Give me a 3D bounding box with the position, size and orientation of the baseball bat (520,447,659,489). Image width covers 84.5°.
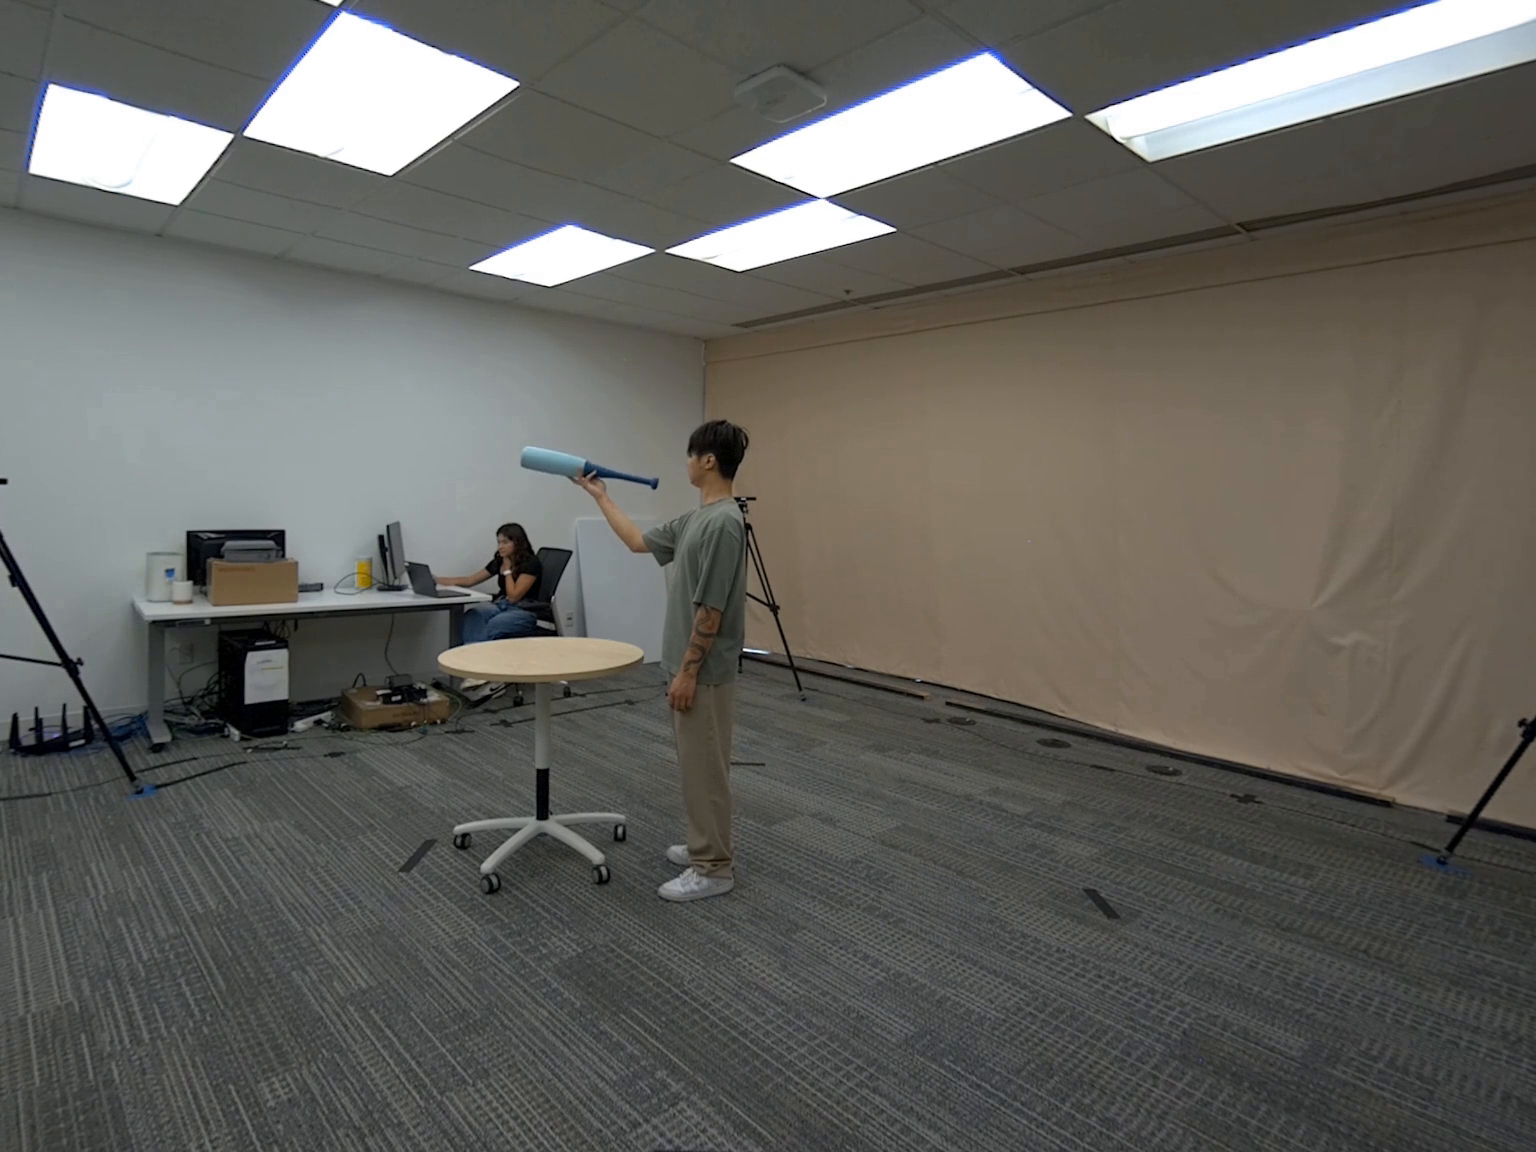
[{"bbox_3d":[-0.697,-0.411,3.301,0.542,0.089,0.089,13,3,-2],"label":"baseball bat"}]
